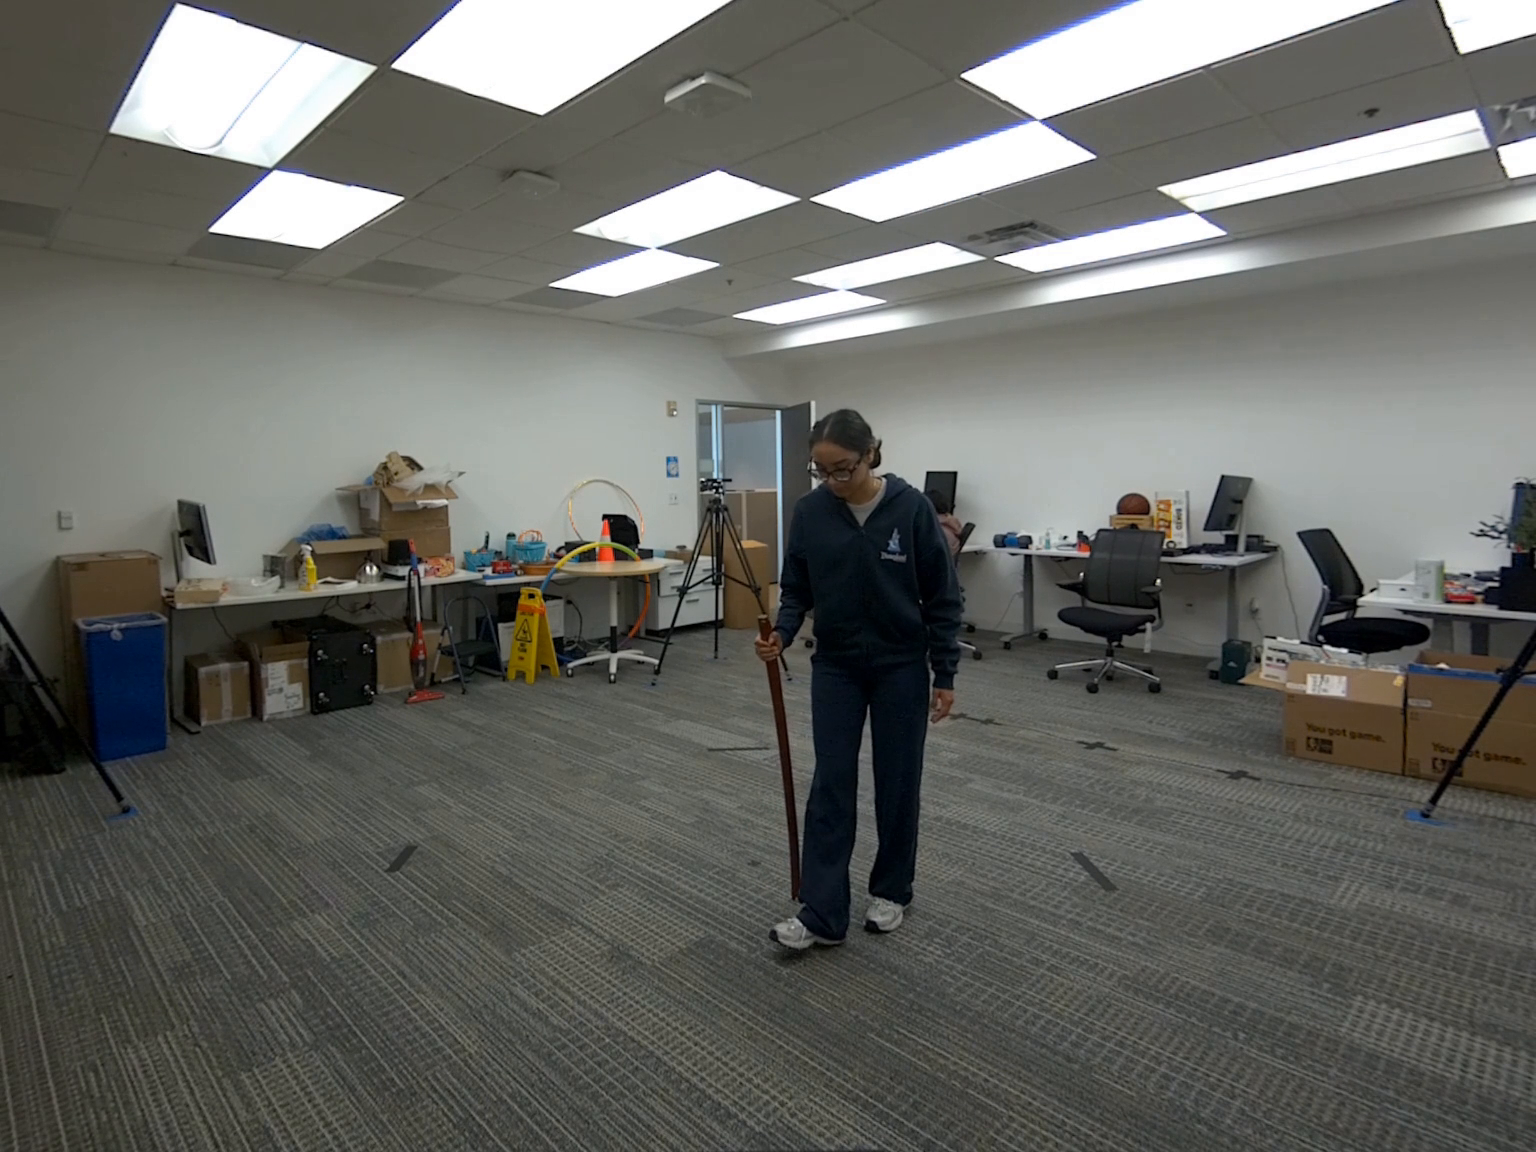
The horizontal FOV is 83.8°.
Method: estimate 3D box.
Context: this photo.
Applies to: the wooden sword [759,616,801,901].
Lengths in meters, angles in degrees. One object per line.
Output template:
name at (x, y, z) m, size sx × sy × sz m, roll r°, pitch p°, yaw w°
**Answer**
wooden sword at (0.049, 0.619, 2.683) m, size 0.050 × 1.006 × 0.025 m, roll -18°, pitch 21°, yaw -29°
